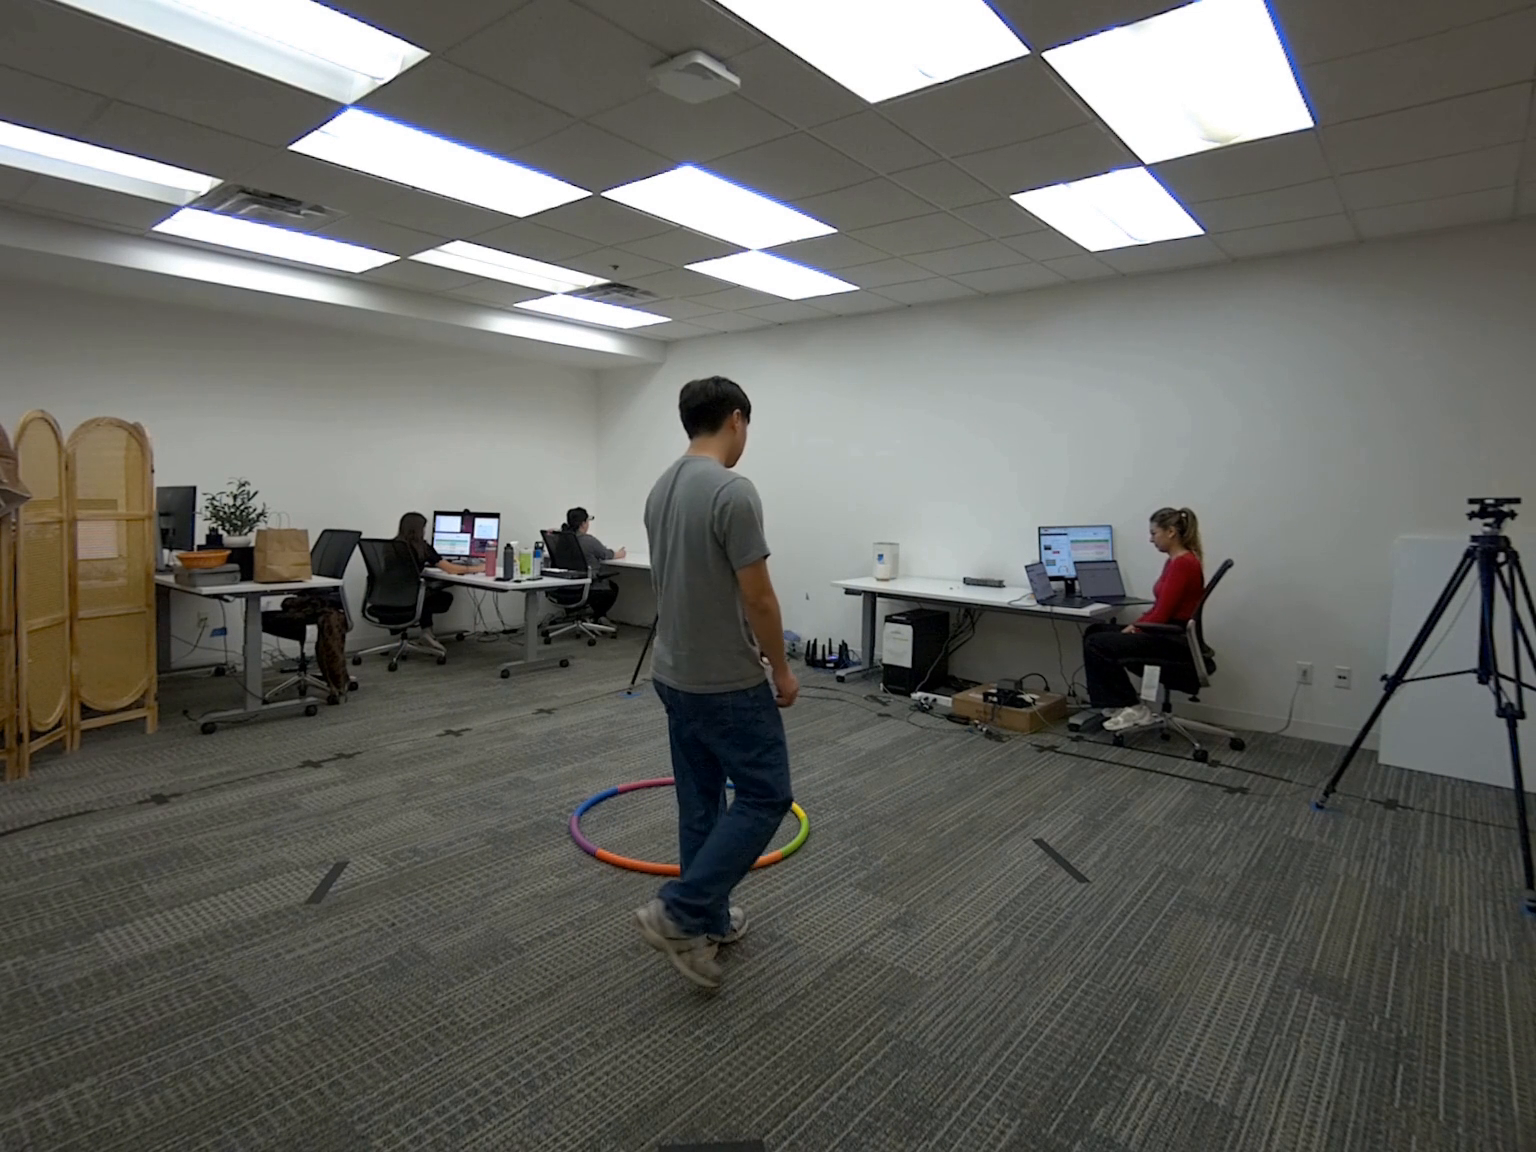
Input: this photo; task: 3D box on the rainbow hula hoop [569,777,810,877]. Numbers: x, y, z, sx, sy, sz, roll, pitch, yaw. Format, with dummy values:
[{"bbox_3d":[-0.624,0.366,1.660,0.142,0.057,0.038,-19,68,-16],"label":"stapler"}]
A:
[{"bbox_3d":[-0.333,0.991,3.513,0.978,0.035,0.984,1,6,-2],"label":"rainbow hula hoop"}]
